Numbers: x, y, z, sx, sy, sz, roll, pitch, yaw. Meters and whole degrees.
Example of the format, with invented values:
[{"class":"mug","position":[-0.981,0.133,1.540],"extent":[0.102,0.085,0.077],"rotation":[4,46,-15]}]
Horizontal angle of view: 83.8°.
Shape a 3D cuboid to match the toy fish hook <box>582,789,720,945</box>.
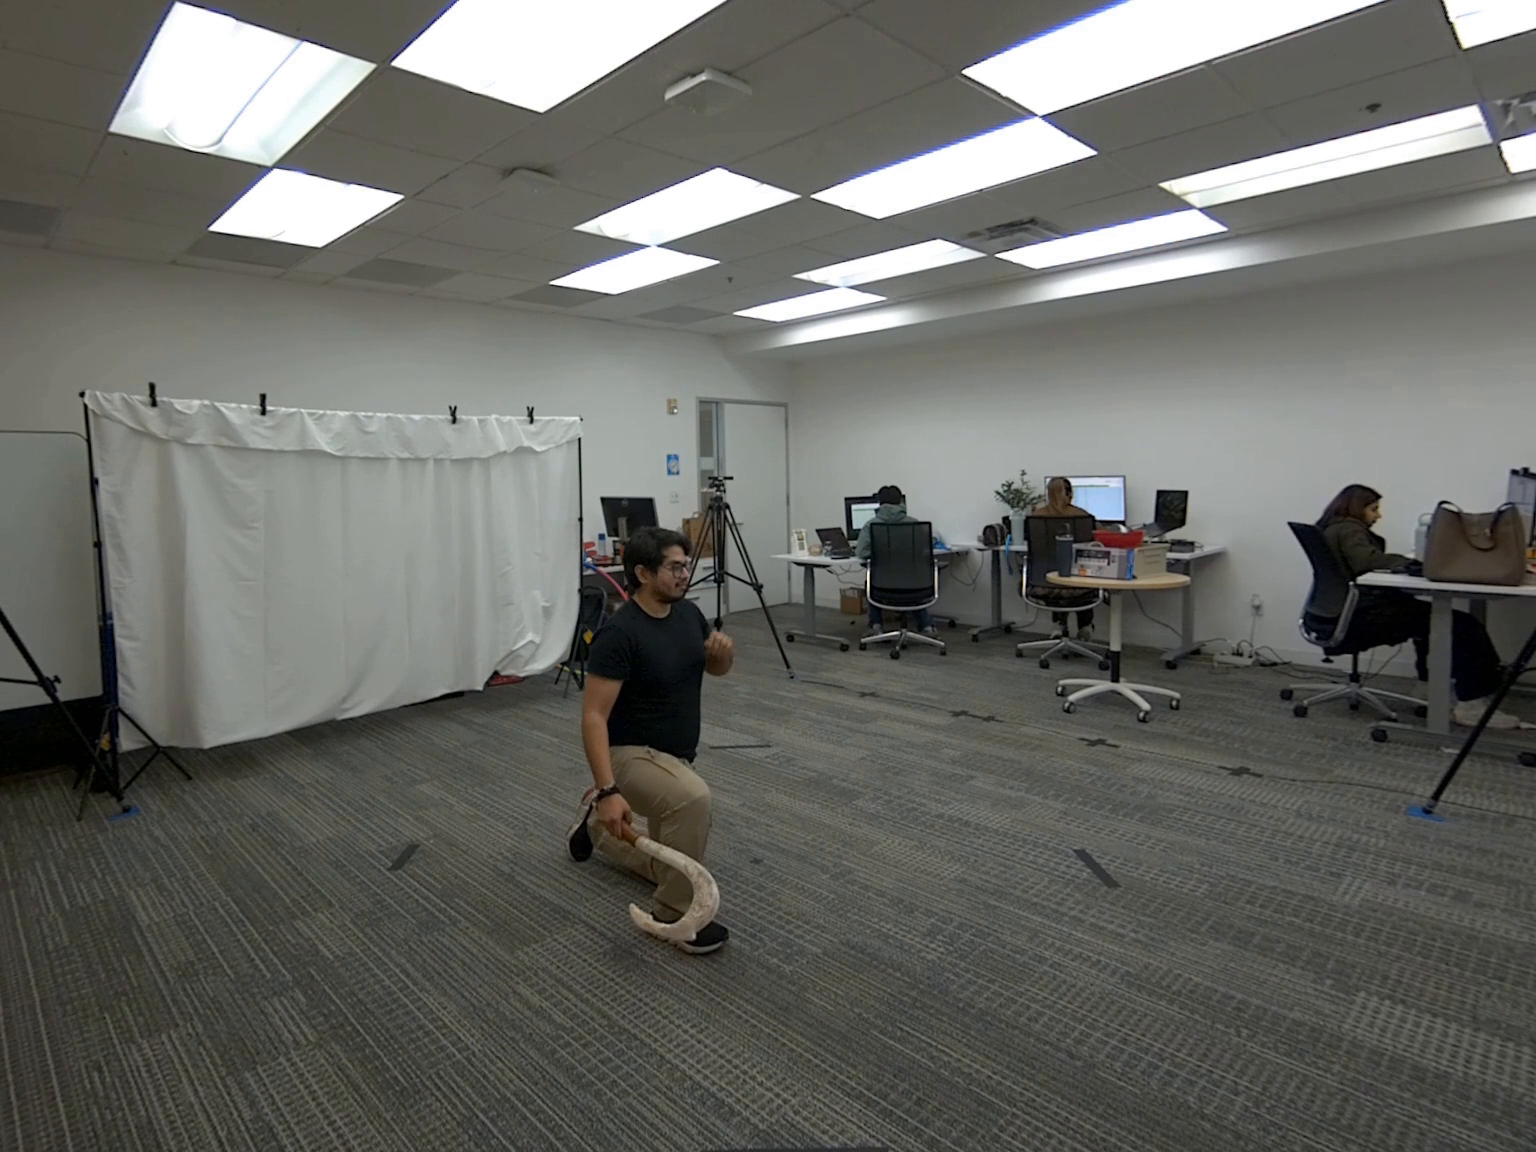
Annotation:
[{"class":"toy fish hook","position":[-0.369,0.809,2.386],"extent":[0.525,0.047,0.223],"rotation":[30,51,32]}]
